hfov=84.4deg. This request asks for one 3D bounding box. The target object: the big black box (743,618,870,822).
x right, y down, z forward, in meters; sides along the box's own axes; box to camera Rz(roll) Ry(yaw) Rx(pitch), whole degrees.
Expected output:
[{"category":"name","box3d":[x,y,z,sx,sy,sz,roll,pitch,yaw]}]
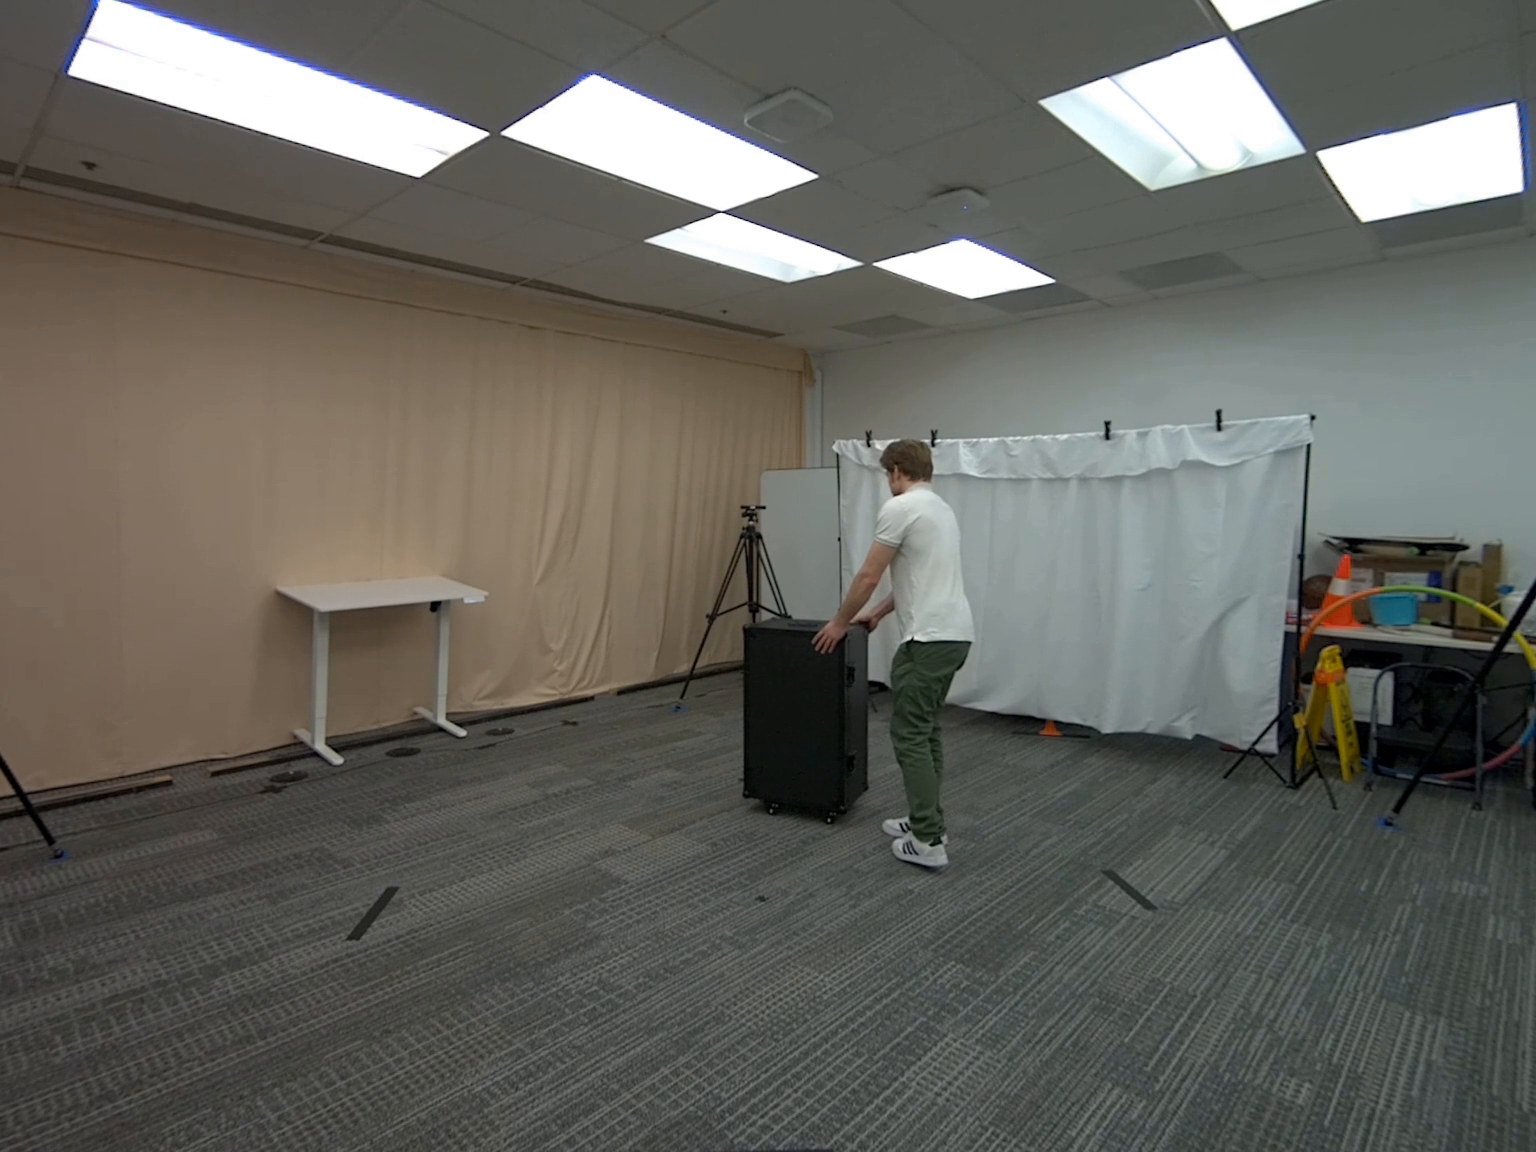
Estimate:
[{"category":"big black box","box3d":[0.174,0.647,3.873,0.536,0.867,0.376,2,3,24]}]
